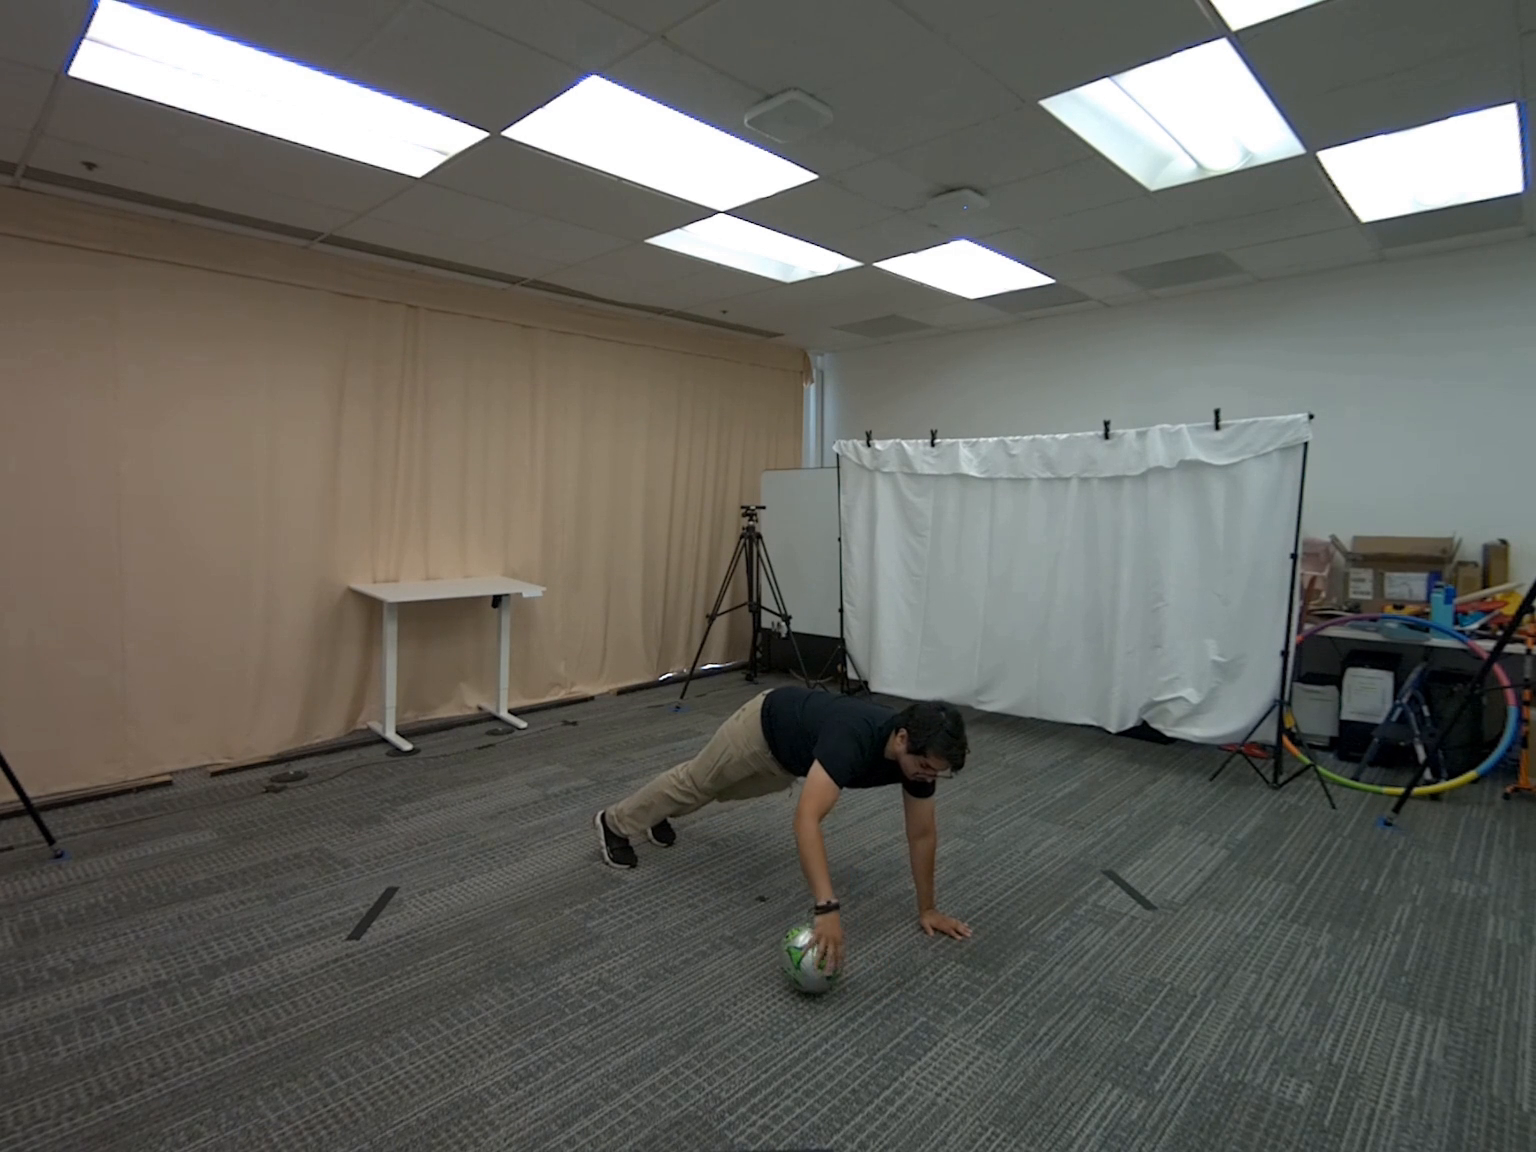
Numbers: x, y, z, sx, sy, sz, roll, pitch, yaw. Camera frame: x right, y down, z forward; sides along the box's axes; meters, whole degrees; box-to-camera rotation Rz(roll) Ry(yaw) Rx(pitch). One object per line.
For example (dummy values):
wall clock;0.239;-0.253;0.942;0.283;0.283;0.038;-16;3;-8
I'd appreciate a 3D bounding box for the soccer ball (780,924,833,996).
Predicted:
soccer ball;0.120;1.095;2.427;0.187;0.187;0.188;0;4;-2
